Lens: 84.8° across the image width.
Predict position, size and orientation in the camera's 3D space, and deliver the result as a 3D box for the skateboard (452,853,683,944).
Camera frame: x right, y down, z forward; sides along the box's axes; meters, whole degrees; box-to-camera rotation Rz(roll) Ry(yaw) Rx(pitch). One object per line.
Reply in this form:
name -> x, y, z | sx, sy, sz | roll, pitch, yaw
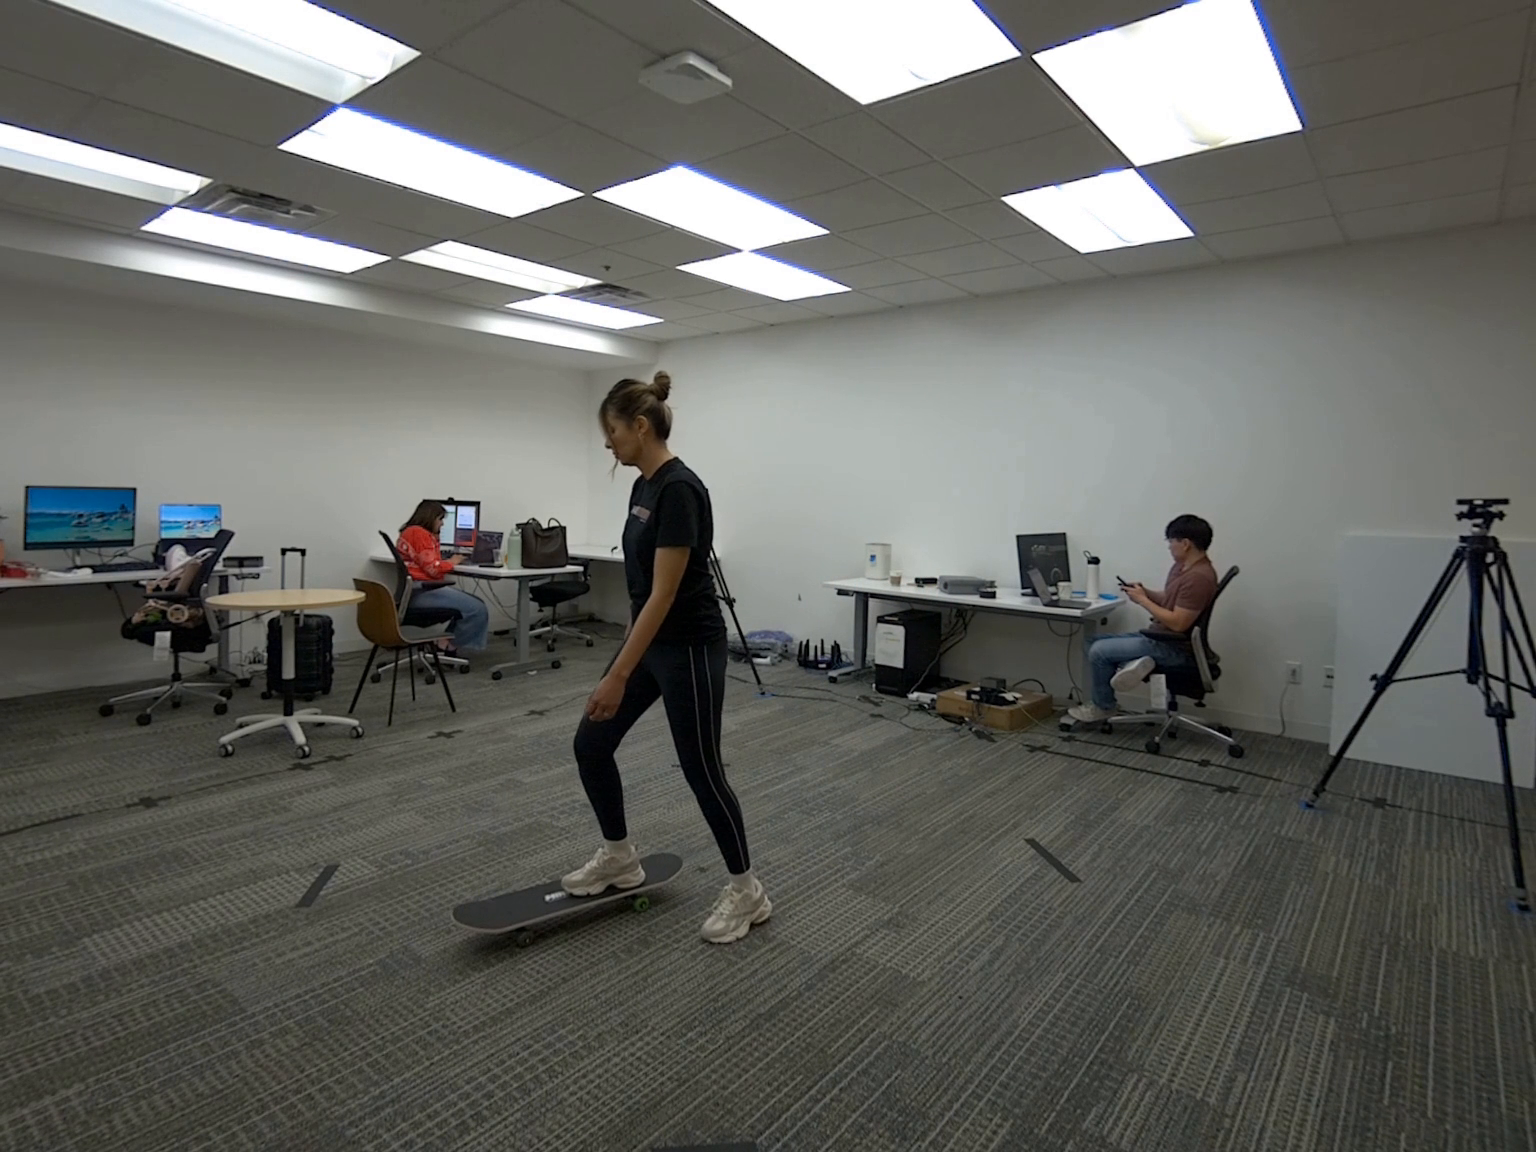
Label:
skateboard -> -0.627, 1.048, 2.742 | 0.764, 0.110, 0.200 | -4, 7, -34
